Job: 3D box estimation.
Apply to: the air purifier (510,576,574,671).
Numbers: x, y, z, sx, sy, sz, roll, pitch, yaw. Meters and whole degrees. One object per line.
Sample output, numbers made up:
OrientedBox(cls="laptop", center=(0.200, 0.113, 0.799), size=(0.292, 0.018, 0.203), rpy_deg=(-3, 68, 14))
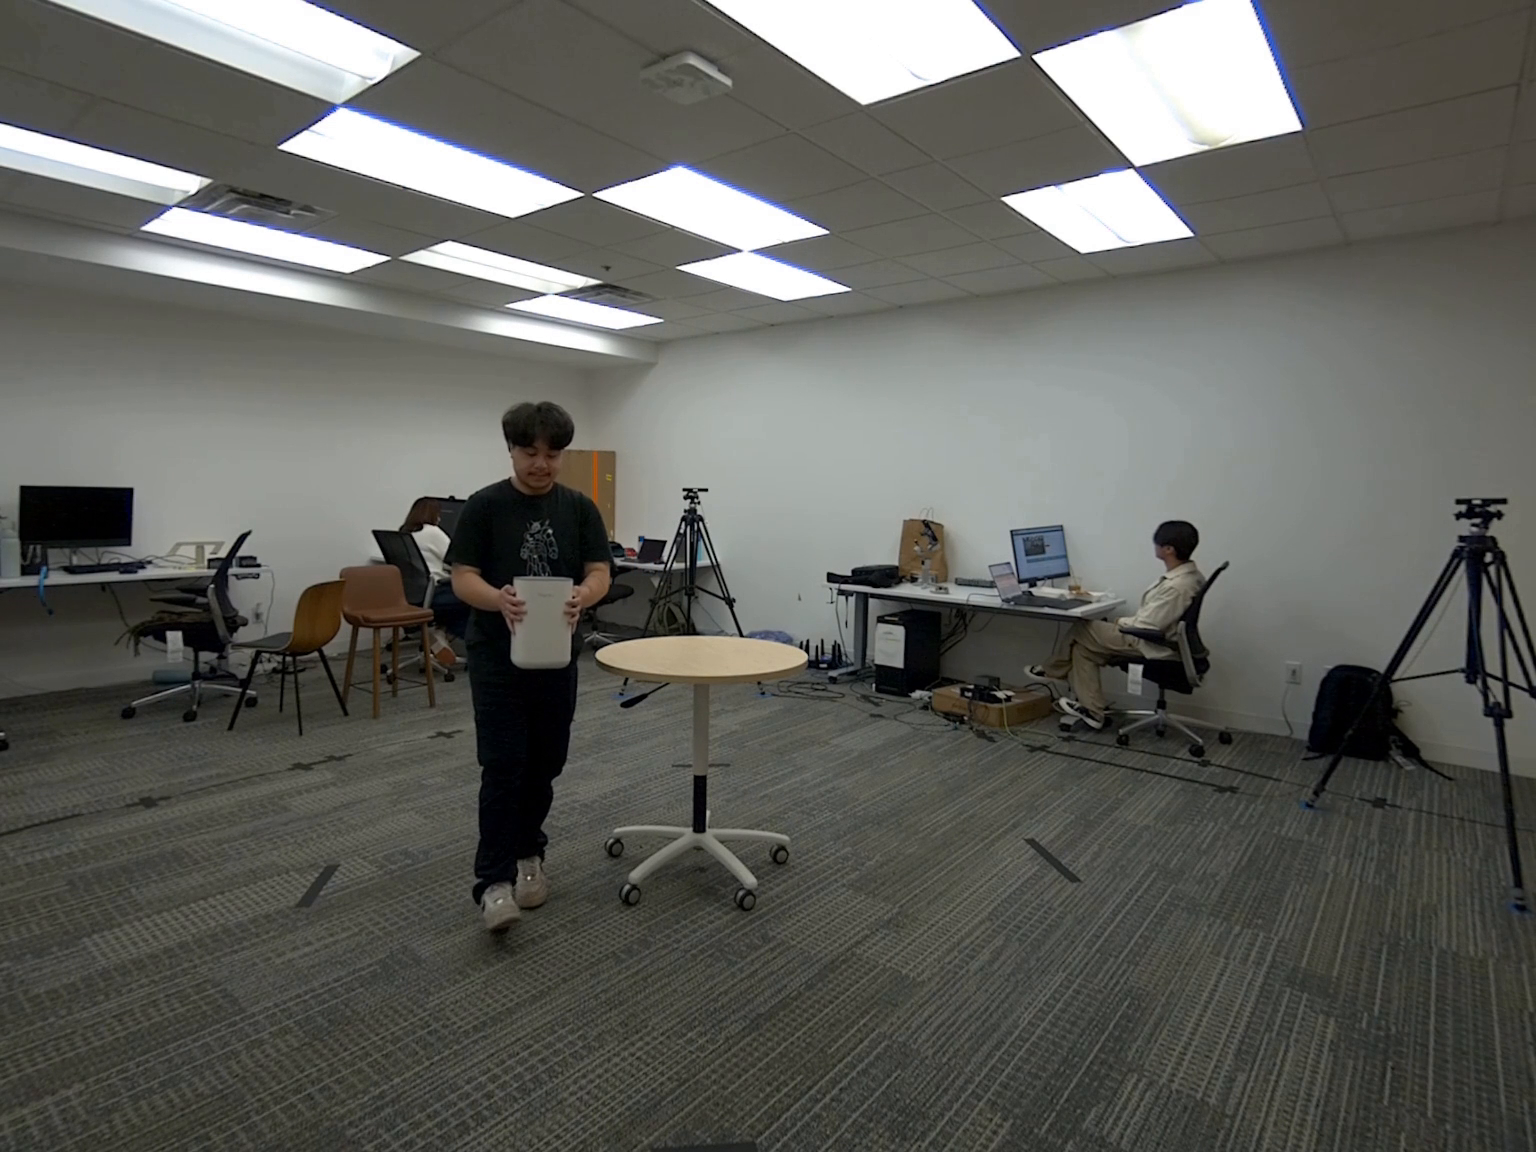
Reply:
OrientedBox(cls="air purifier", center=(-0.689, 0.134, 2.564), size=(0.167, 0.265, 0.175), rpy_deg=(1, 1, -22))
